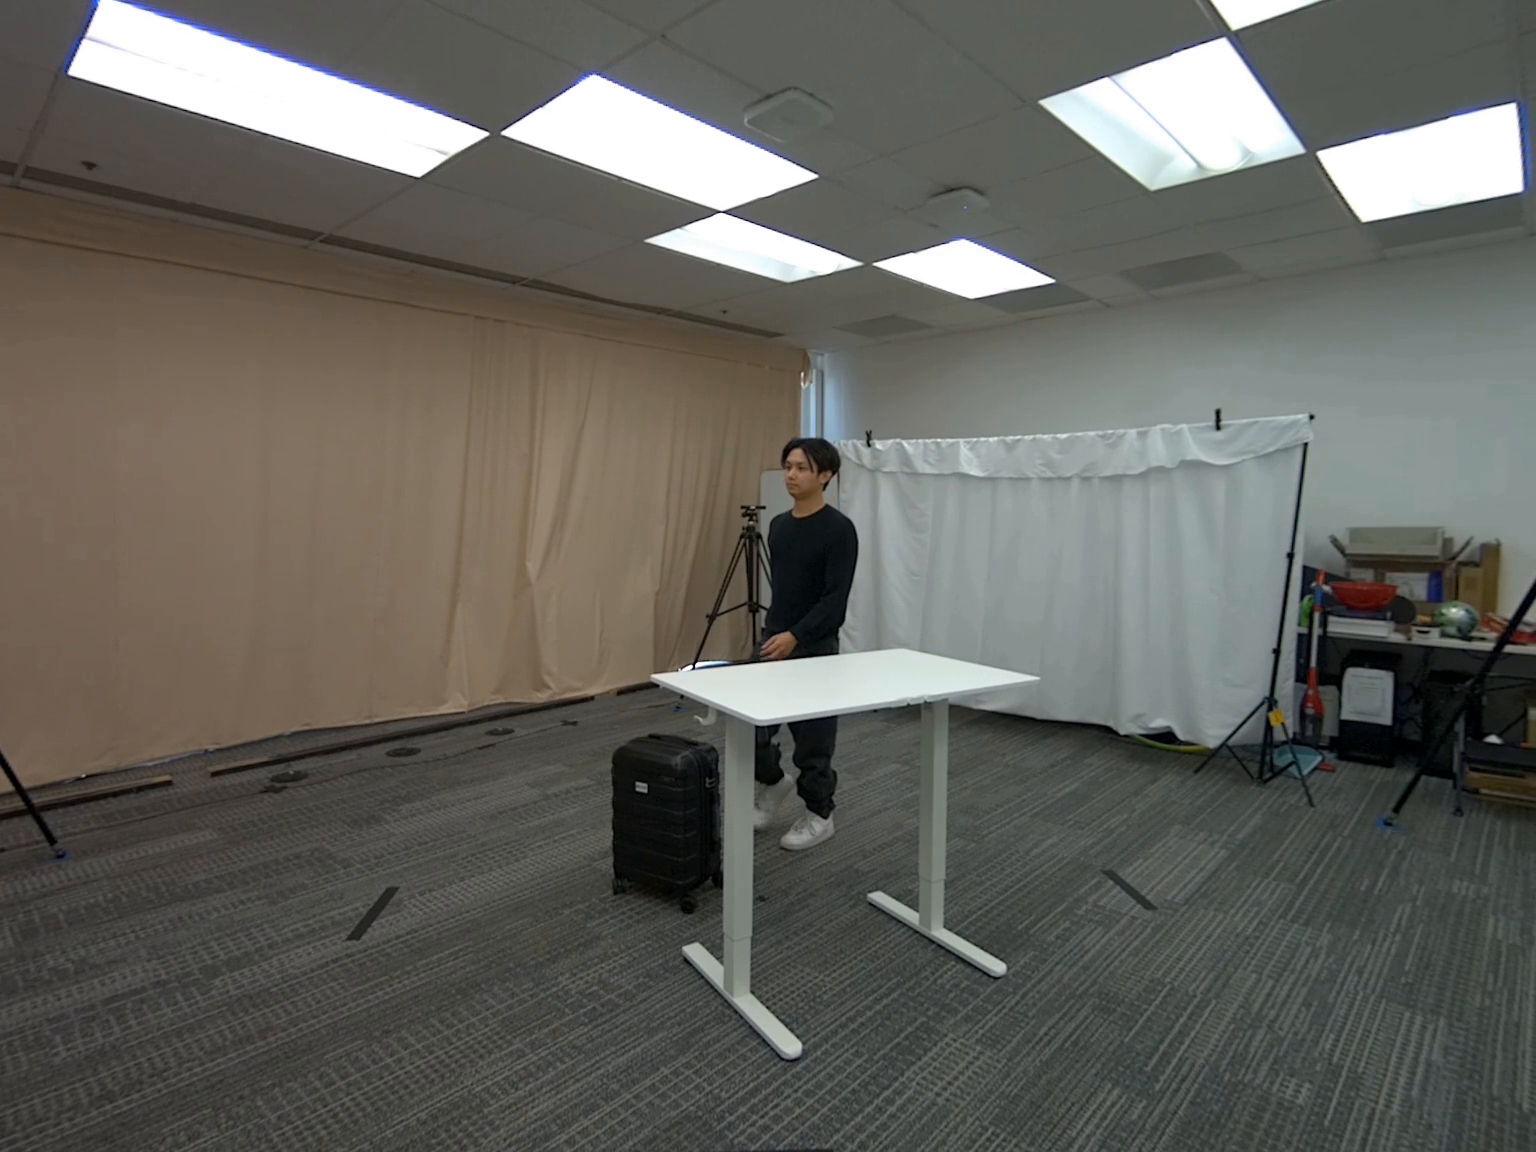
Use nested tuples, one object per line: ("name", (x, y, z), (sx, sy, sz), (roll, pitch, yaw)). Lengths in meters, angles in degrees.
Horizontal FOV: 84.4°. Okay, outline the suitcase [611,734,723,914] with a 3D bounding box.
("suitcase", (-0.366, 0.861, 3.049), (0.386, 0.548, 0.241), (2, 4, 32))
